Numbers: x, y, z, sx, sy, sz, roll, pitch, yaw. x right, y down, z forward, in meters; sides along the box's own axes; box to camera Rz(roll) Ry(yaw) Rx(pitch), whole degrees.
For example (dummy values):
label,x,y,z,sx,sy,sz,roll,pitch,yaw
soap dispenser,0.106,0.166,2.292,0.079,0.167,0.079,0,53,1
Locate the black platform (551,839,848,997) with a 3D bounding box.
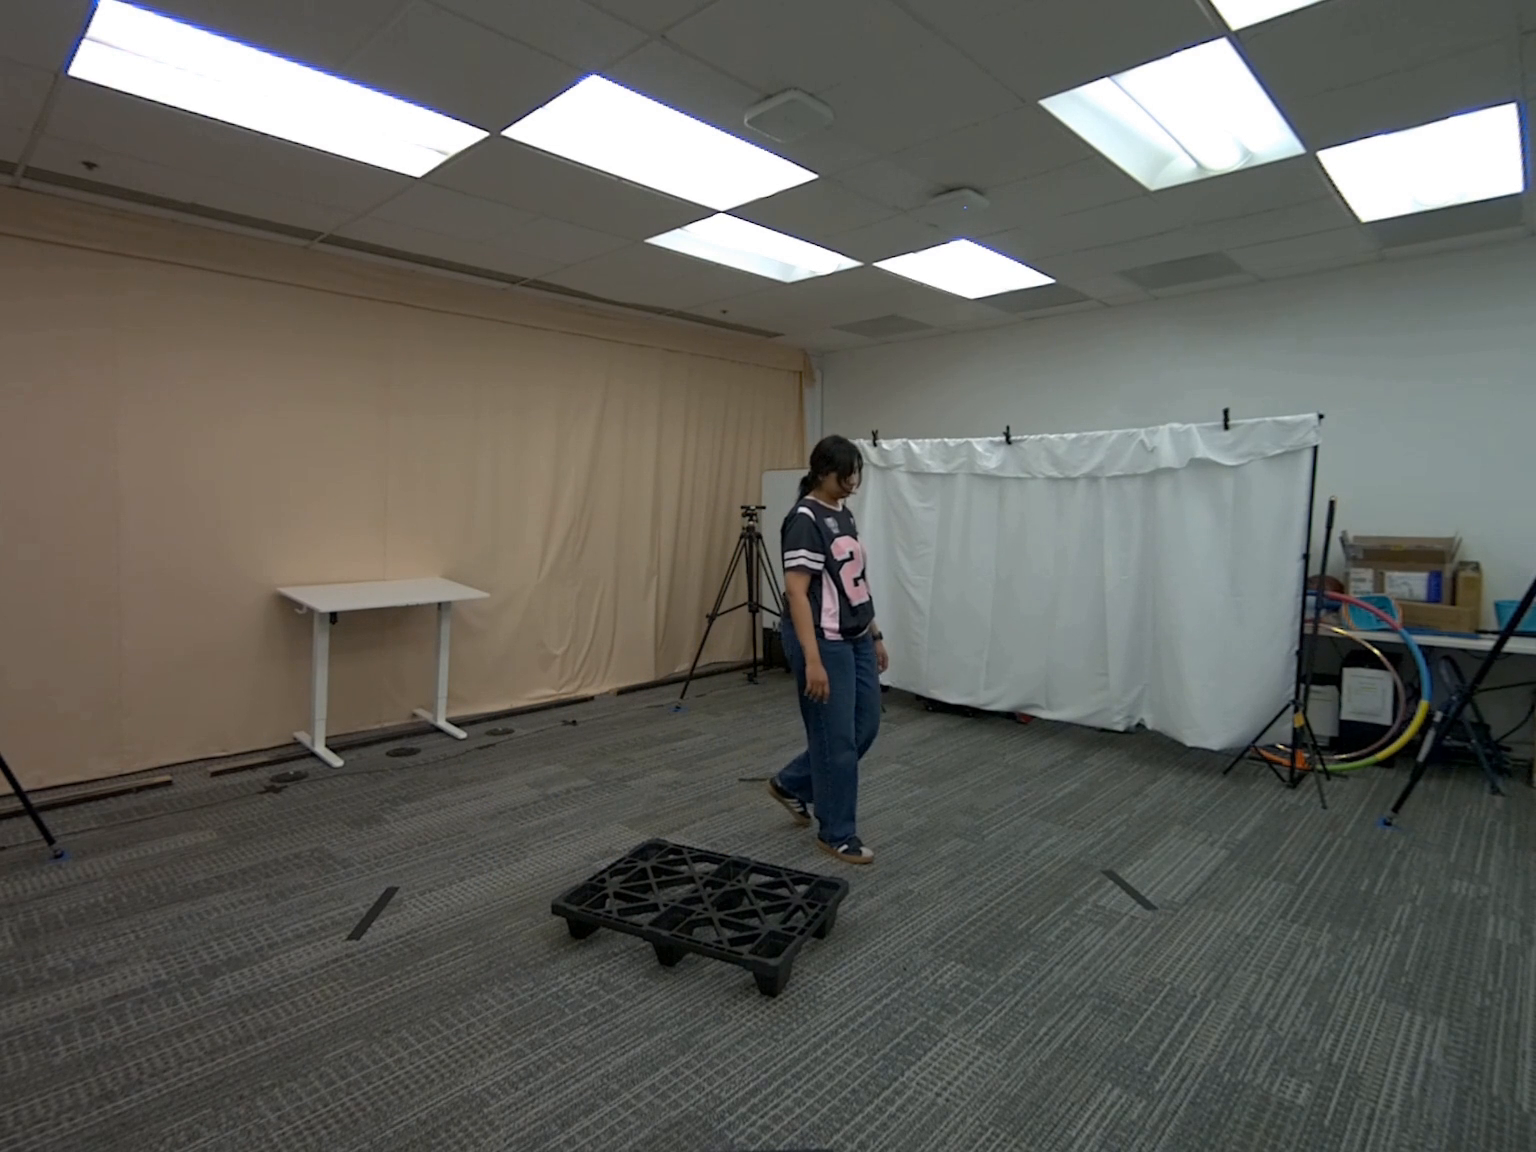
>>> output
label,x,y,z,sx,sy,sz,roll,pitch,yaw
black platform,-0.207,1.097,2.748,0.827,0.143,0.591,2,6,27
